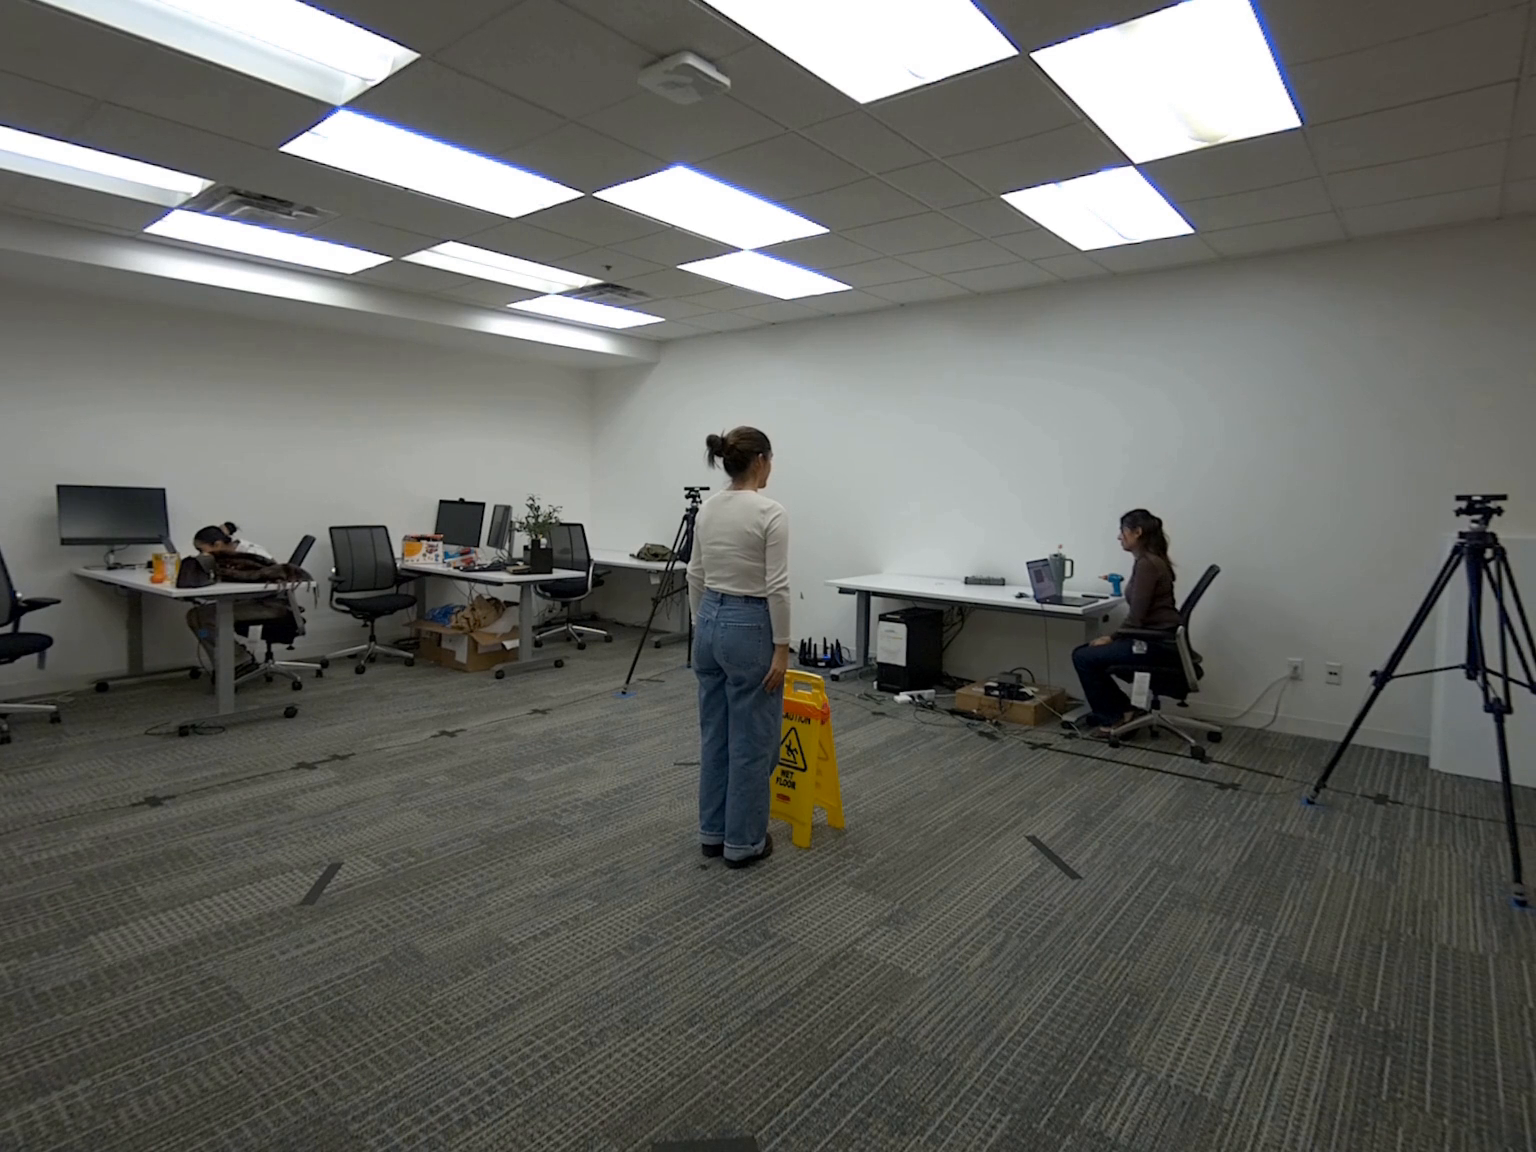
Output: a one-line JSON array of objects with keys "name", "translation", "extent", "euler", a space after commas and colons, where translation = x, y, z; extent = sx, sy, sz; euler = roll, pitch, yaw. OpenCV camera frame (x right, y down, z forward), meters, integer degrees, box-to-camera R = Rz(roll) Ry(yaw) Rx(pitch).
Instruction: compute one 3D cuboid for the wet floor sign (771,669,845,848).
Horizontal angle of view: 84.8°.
[{"name": "wet floor sign", "translation": [0.123, 0.709, 3.471], "extent": [0.292, 0.644, 0.281], "euler": [5, 4, 39]}]
